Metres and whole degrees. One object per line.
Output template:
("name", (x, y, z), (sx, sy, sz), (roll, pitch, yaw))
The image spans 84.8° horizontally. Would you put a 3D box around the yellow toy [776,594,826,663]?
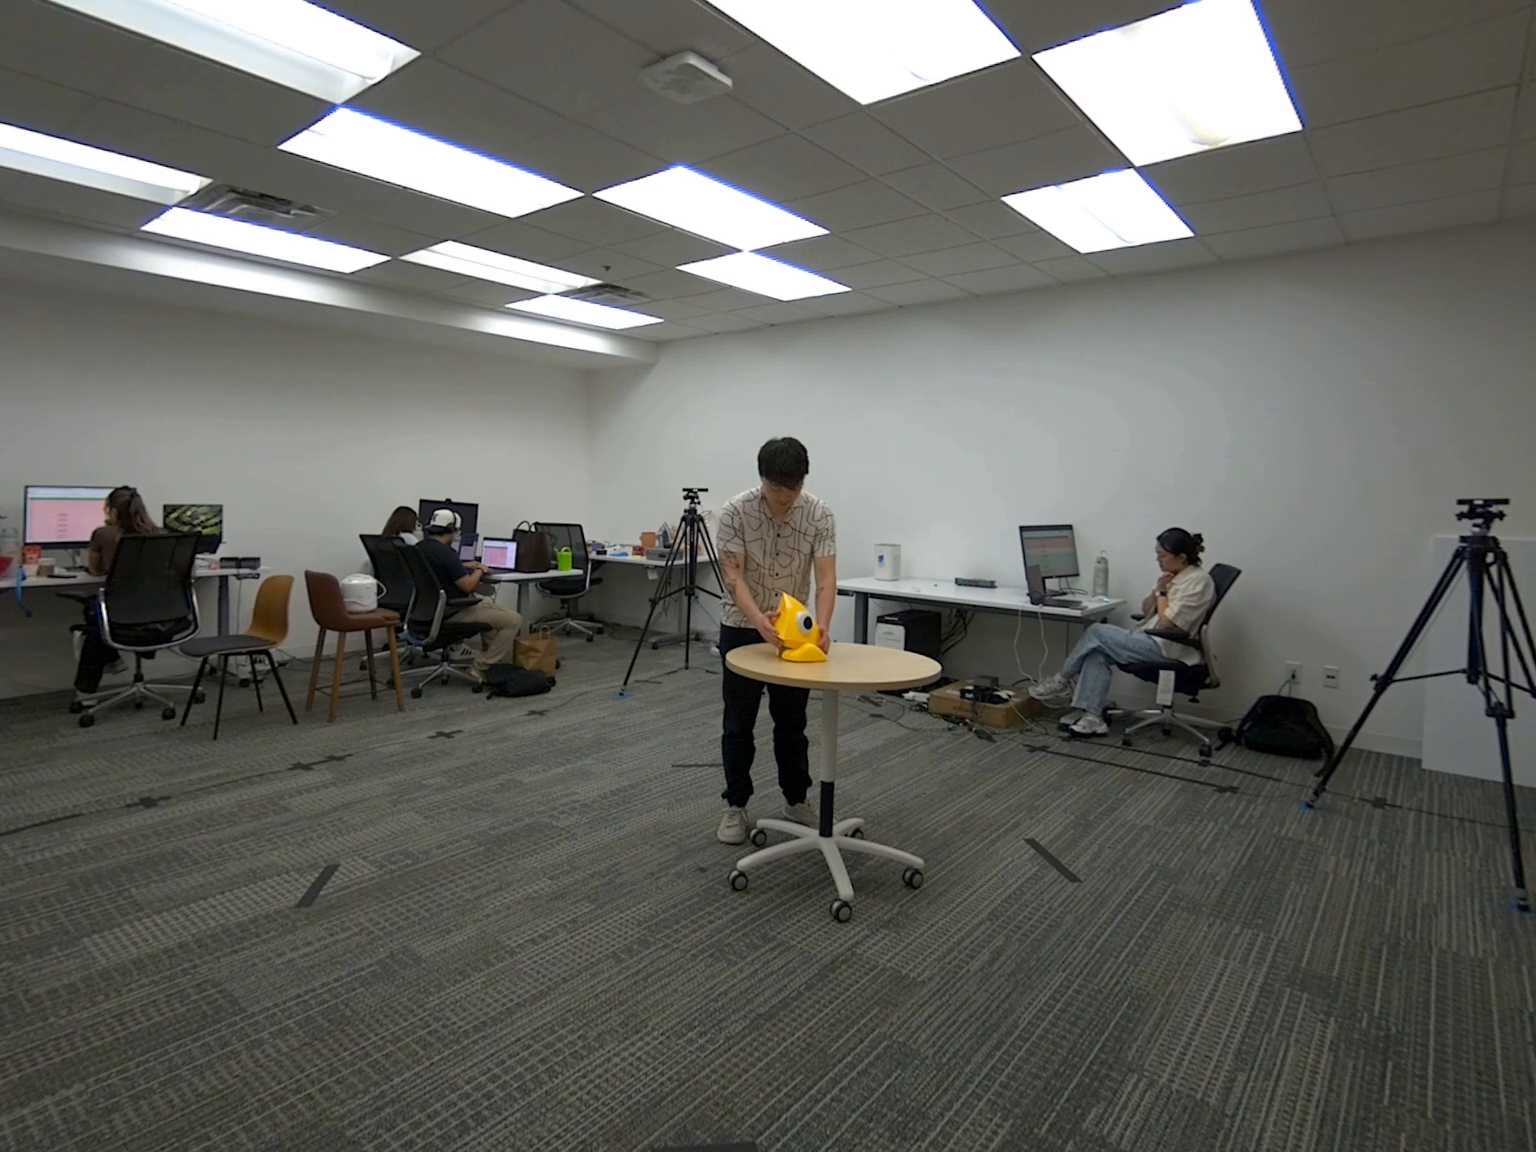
("yellow toy", (0.103, 0.171, 3.084), (0.190, 0.230, 0.208), (0, 3, -13))
